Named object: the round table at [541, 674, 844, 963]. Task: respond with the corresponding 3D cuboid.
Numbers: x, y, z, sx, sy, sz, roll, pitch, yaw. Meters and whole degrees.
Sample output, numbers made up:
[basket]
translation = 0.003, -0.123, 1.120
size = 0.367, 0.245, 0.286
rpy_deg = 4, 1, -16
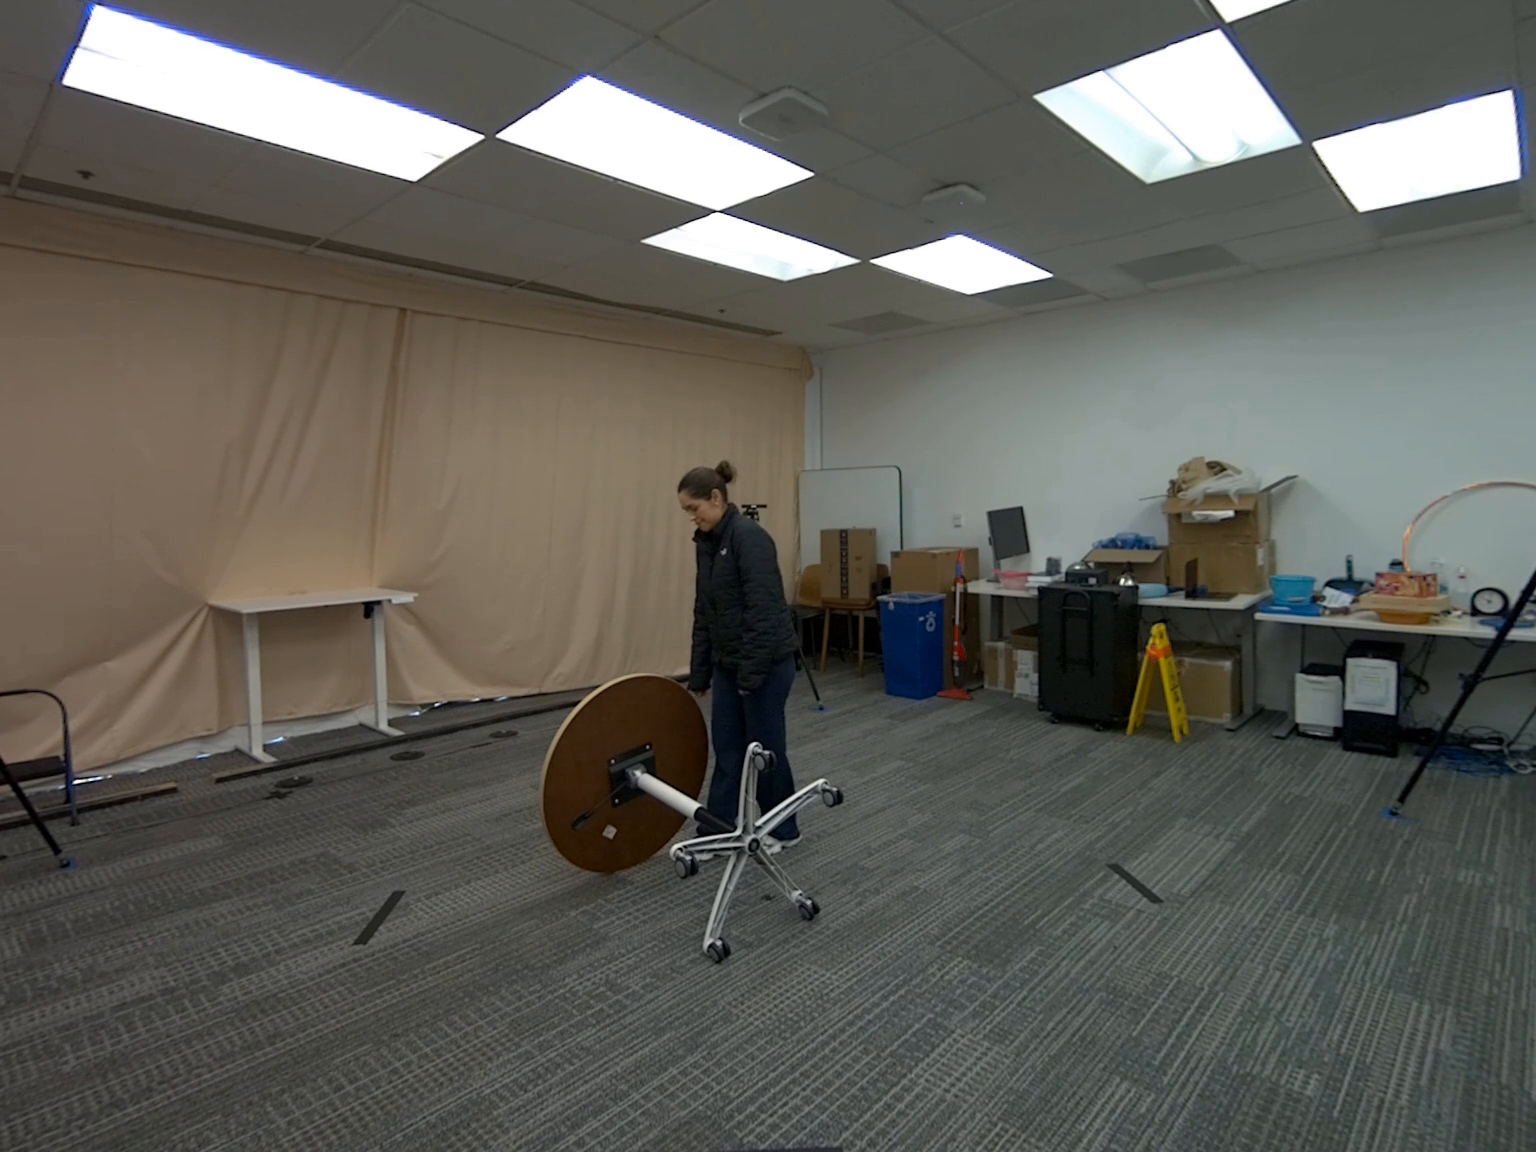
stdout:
[round table]
translation = -0.253, 0.813, 2.922
size = 0.761, 0.781, 0.814
rpy_deg = -4, 11, -42
